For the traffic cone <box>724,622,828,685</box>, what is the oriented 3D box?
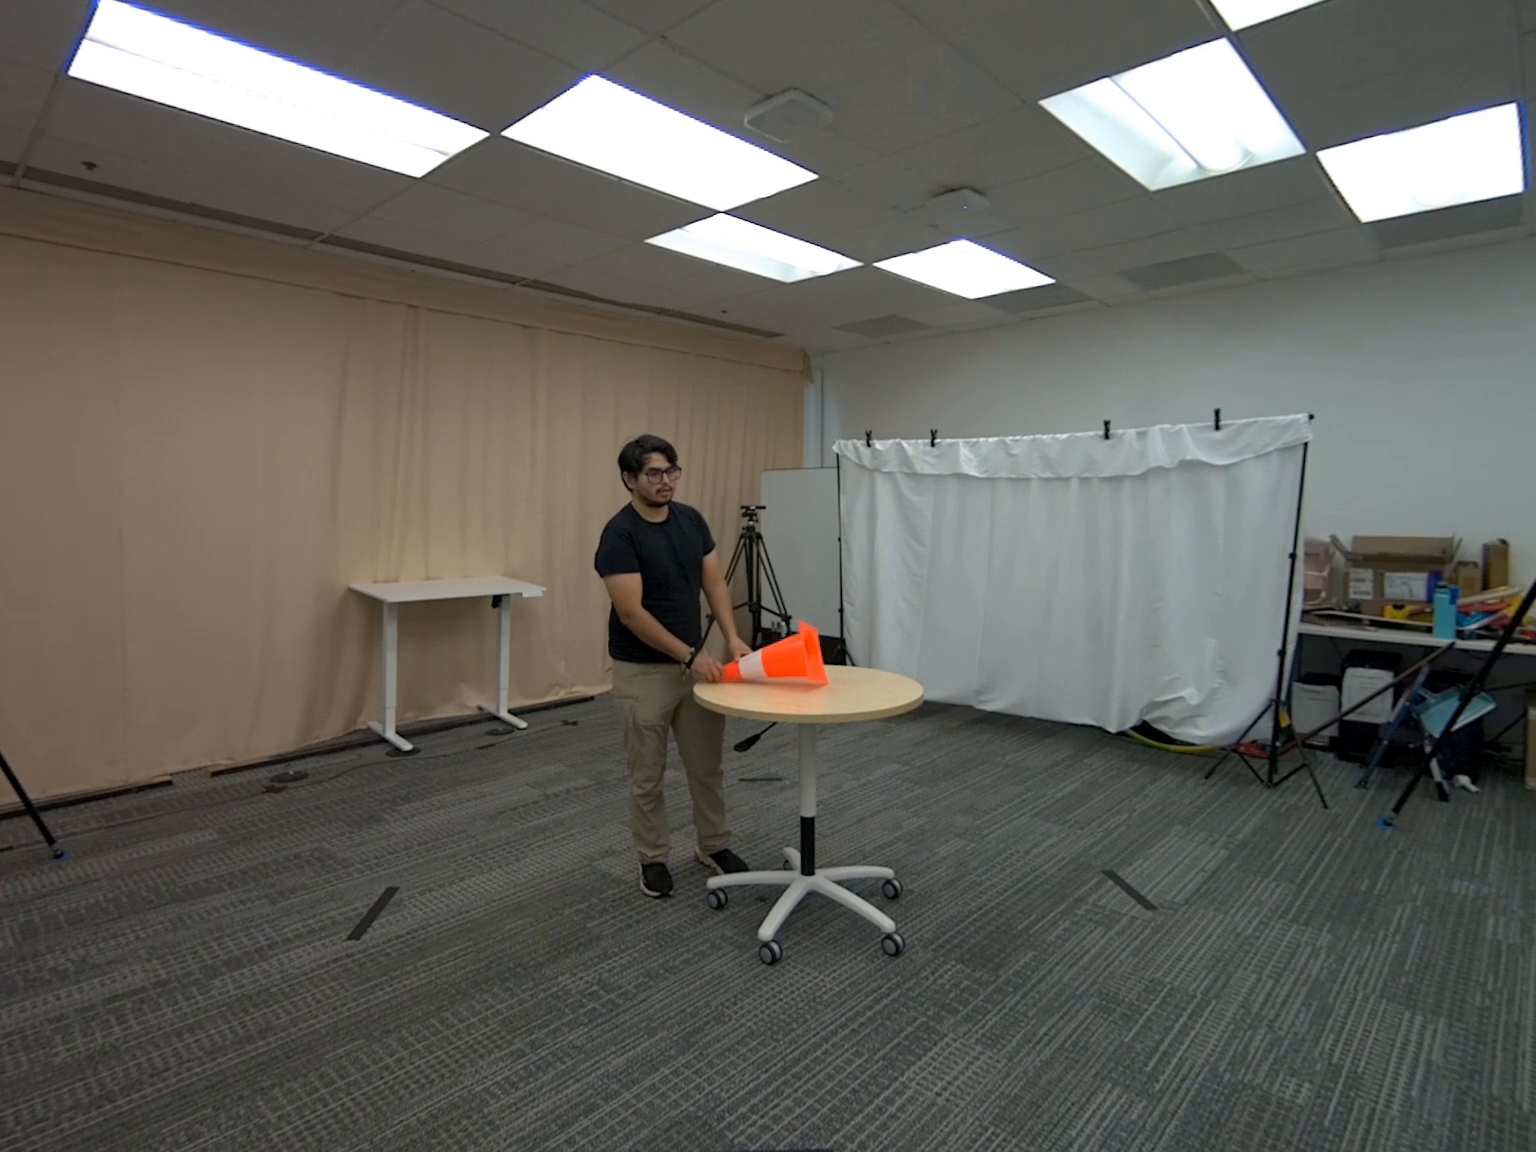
[{"bbox_3d":[-0.018,0.309,2.881,0.390,0.208,0.197,-16,-20,20],"label":"traffic cone"}]
